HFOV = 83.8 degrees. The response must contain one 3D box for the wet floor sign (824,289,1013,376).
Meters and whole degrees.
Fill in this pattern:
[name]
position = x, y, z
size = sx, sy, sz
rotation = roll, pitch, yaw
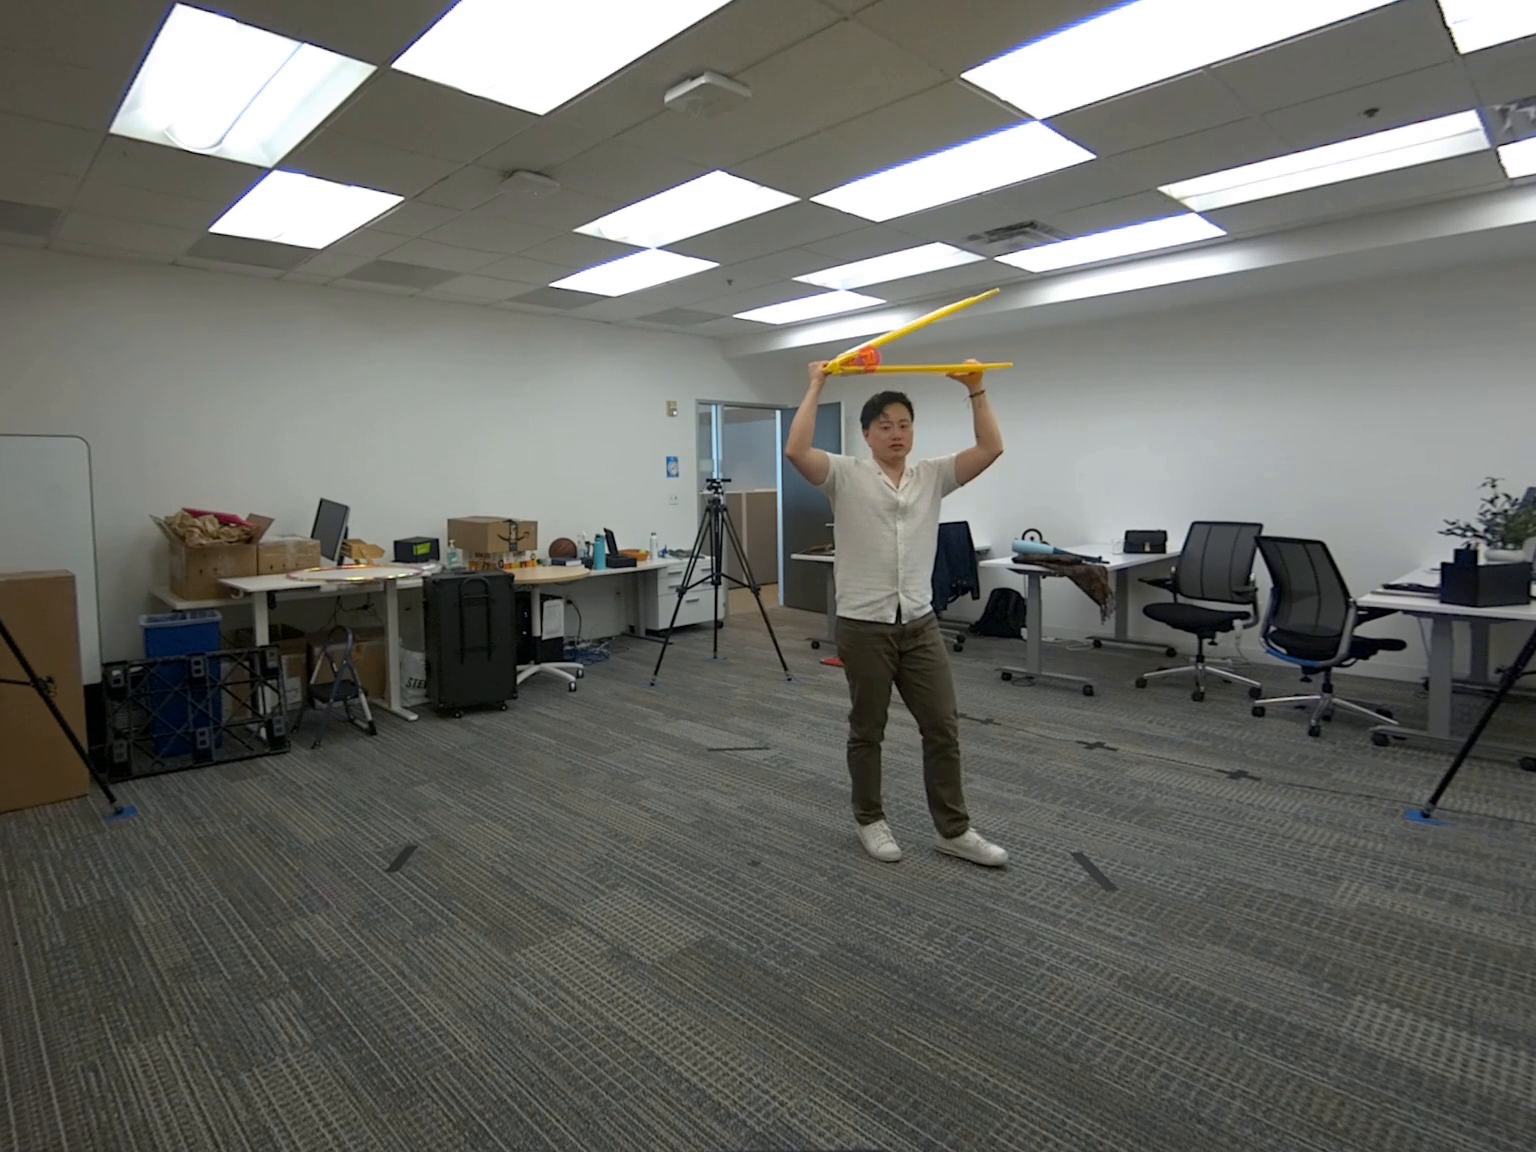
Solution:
[wet floor sign]
position = 0.490, -0.794, 3.017
size = 0.643, 0.287, 0.287
rotation = -14, 10, -7
